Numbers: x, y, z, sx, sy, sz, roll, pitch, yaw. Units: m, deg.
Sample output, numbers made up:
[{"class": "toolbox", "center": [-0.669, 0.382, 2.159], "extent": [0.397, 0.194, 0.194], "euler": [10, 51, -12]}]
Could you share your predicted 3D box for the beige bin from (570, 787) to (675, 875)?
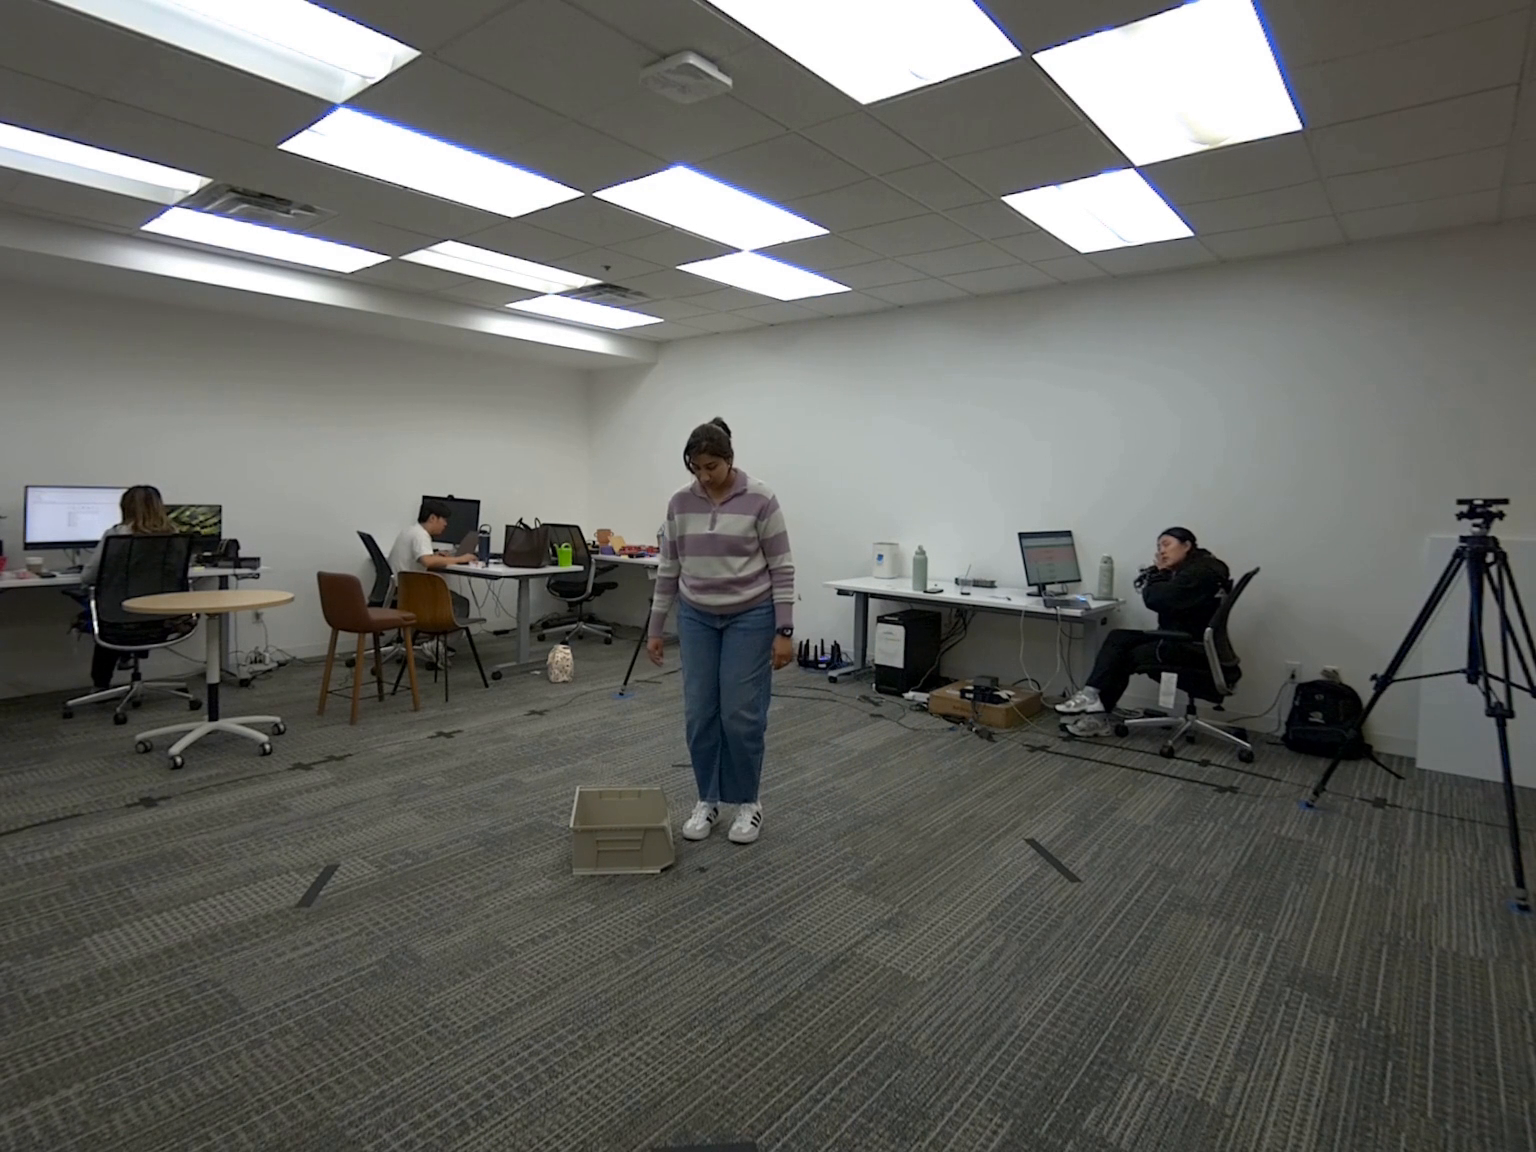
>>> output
[{"class": "beige bin", "center": [-0.566, 0.962, 3.255], "extent": [0.374, 0.188, 0.427], "euler": [0, 5, -8]}]
